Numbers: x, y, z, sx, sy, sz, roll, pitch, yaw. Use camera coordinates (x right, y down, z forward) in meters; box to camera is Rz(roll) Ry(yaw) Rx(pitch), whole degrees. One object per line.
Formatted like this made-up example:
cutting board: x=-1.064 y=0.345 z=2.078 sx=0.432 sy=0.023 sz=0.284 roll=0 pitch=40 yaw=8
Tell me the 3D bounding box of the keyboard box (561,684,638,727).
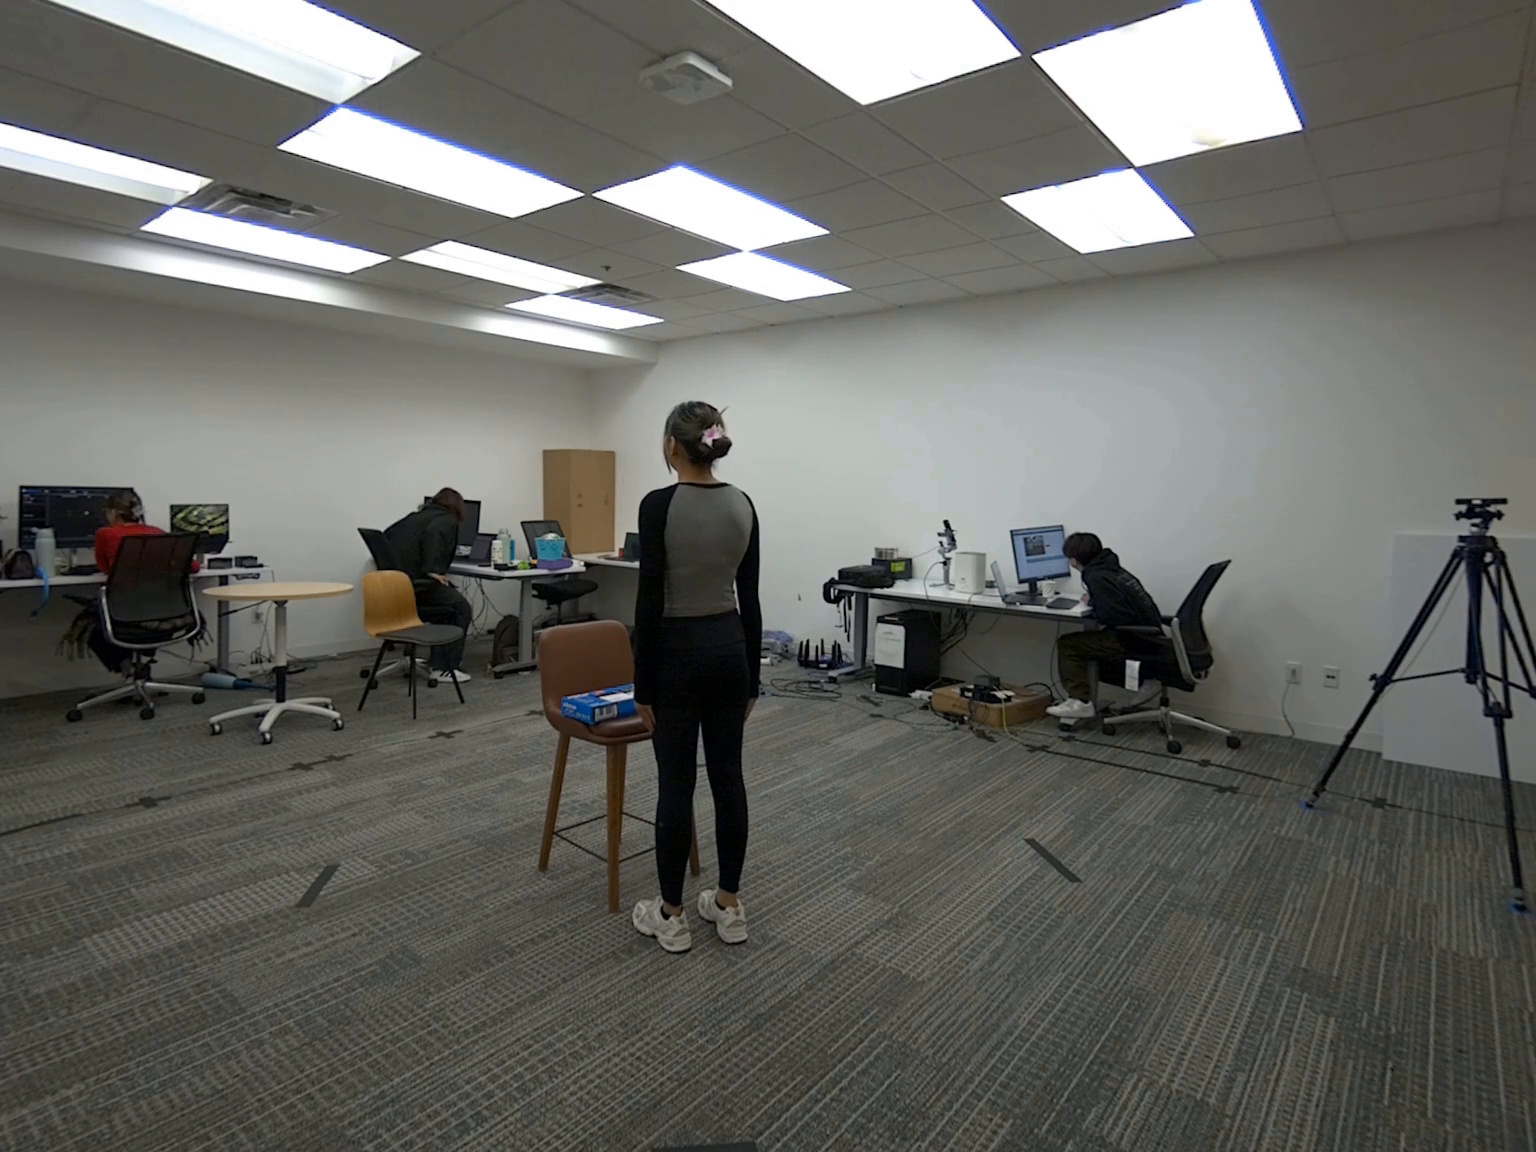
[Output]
keyboard box: x=-0.503 y=0.432 z=2.979 sx=0.182 sy=0.059 sz=0.424 roll=6 pitch=8 yaw=43
